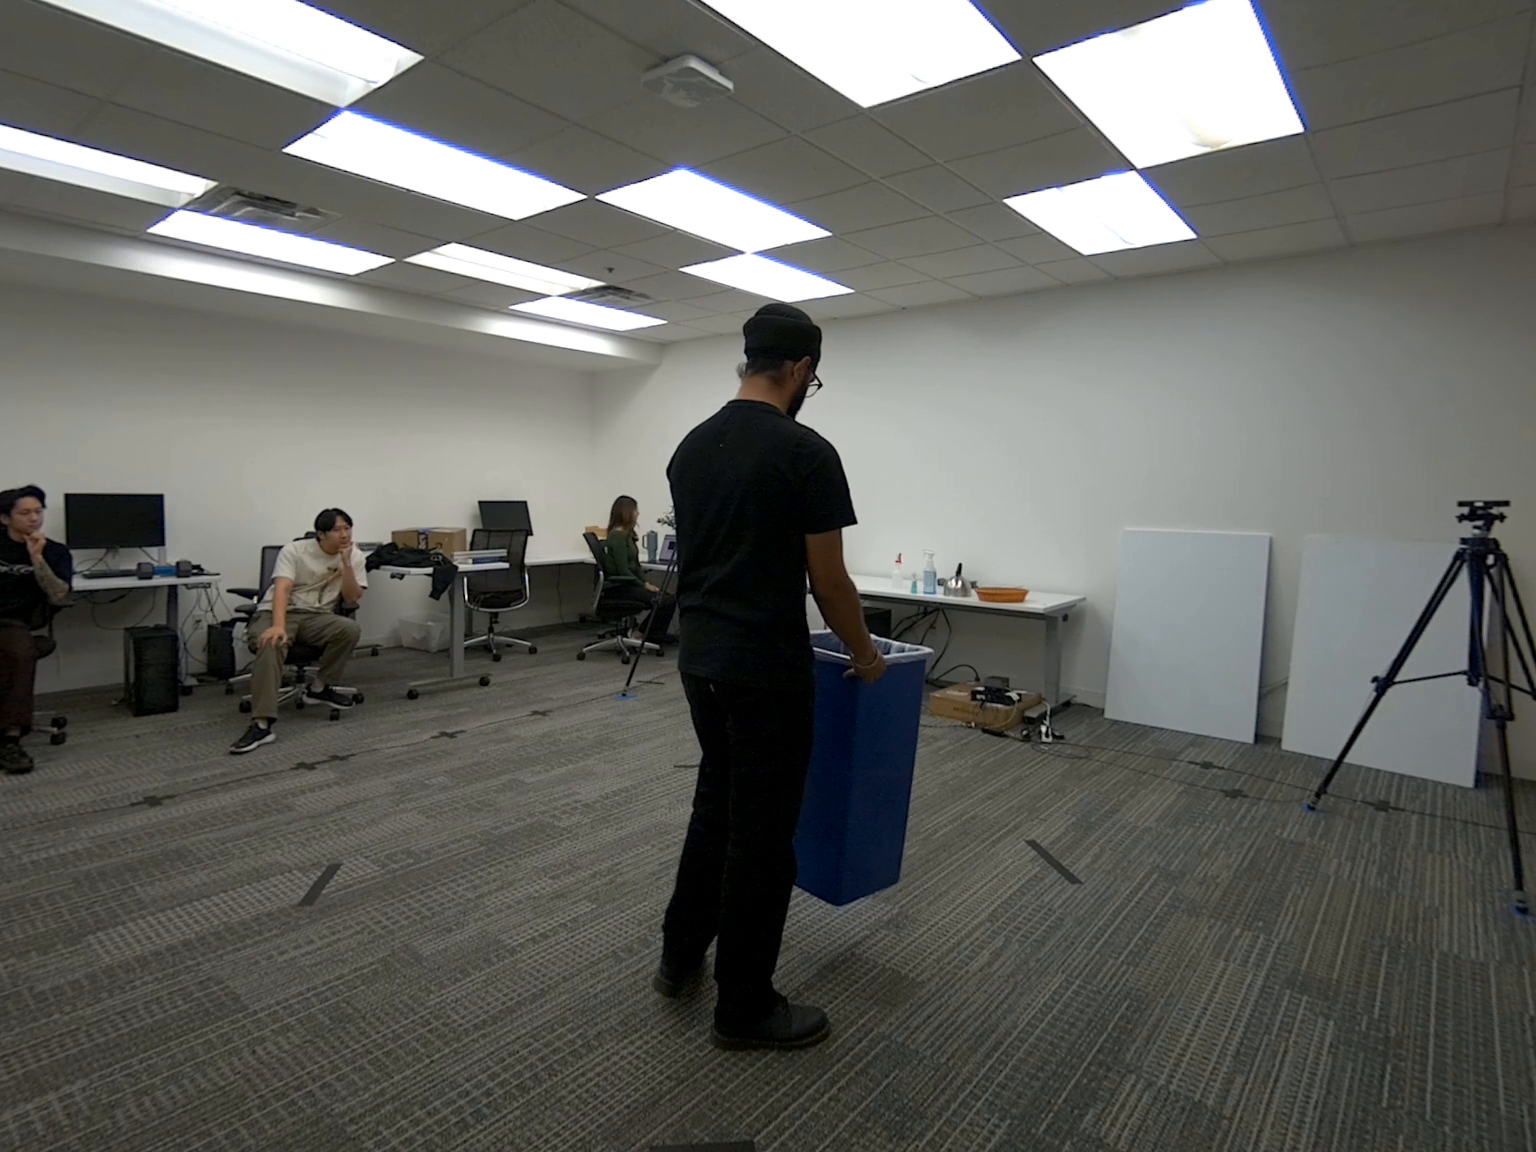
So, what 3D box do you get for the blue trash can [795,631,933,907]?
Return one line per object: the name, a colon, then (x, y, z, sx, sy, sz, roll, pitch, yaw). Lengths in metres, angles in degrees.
blue trash can: (0.215, 0.558, 2.558, 0.391, 0.712, 0.362, 7, 3, 45)
